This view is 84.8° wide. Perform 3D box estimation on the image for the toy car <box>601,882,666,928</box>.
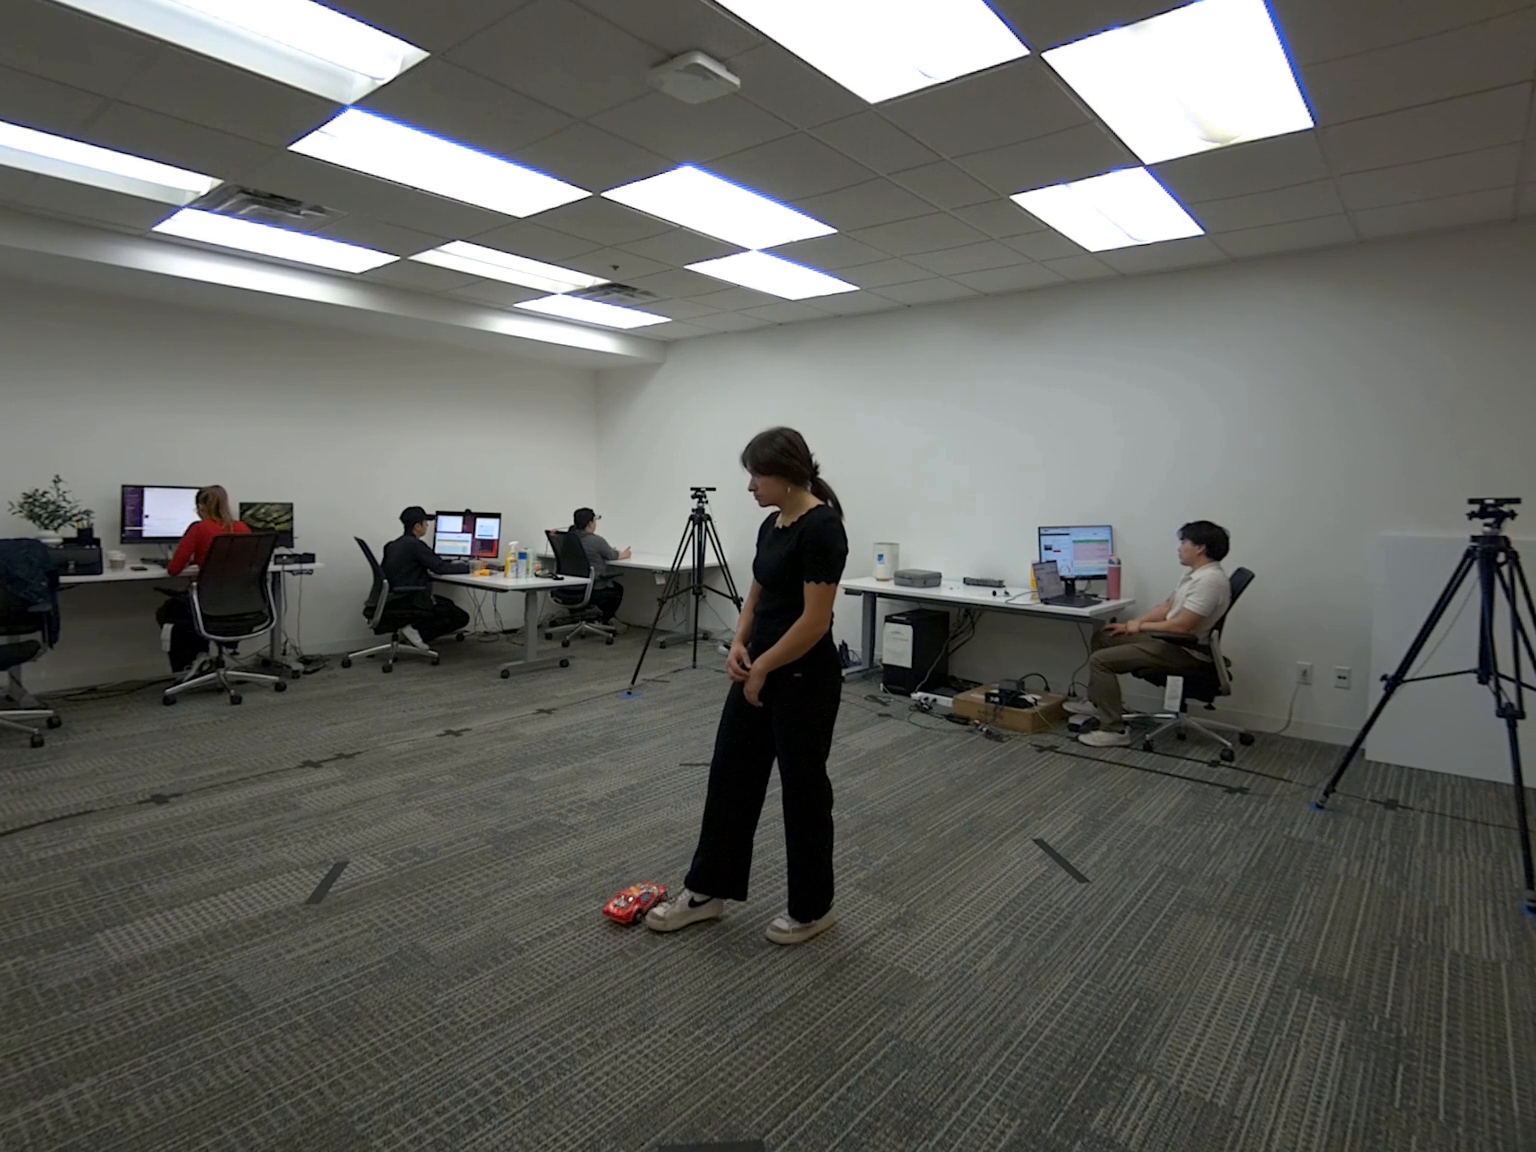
[{"bbox_3d":[-0.453,1.065,2.766,0.134,0.083,0.246,3,-4,30],"label":"toy car"}]
